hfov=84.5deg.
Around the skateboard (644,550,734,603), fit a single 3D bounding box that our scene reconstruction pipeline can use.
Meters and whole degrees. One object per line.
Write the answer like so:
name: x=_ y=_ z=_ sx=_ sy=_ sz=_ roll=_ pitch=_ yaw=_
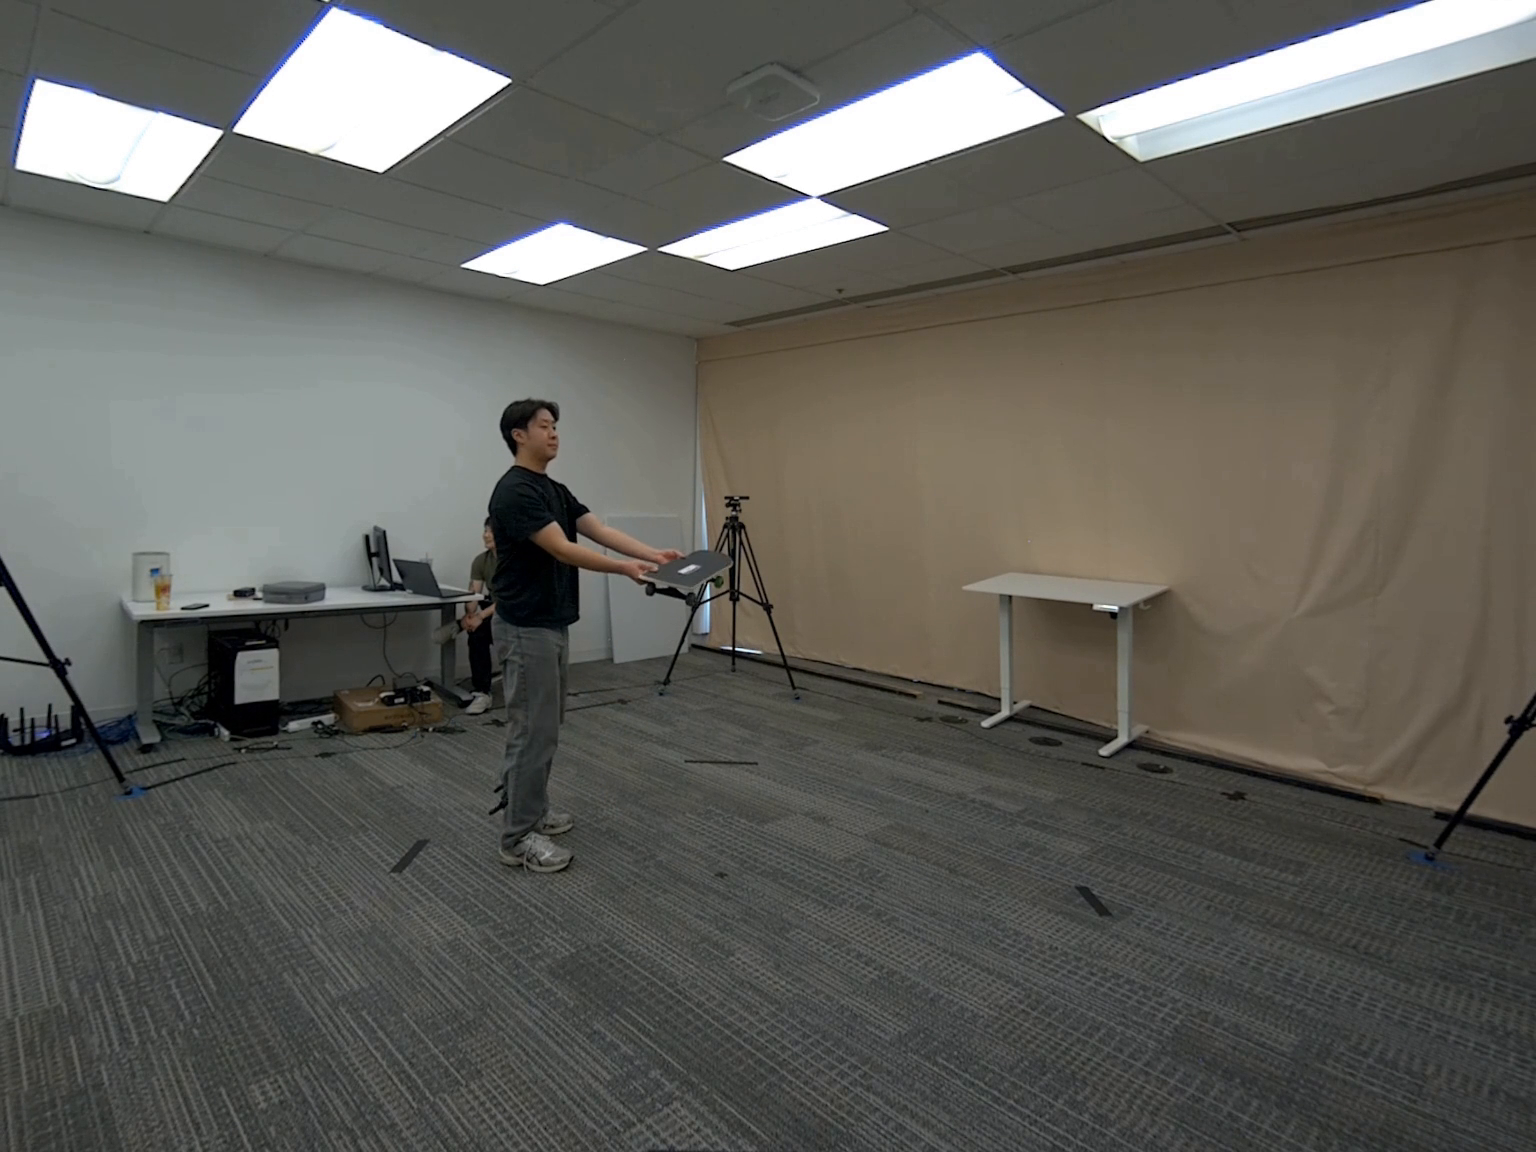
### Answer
skateboard: x=-0.314 y=0.008 z=3.172 sx=0.195 sy=0.110 sz=0.783 roll=10 pitch=10 yaw=8
